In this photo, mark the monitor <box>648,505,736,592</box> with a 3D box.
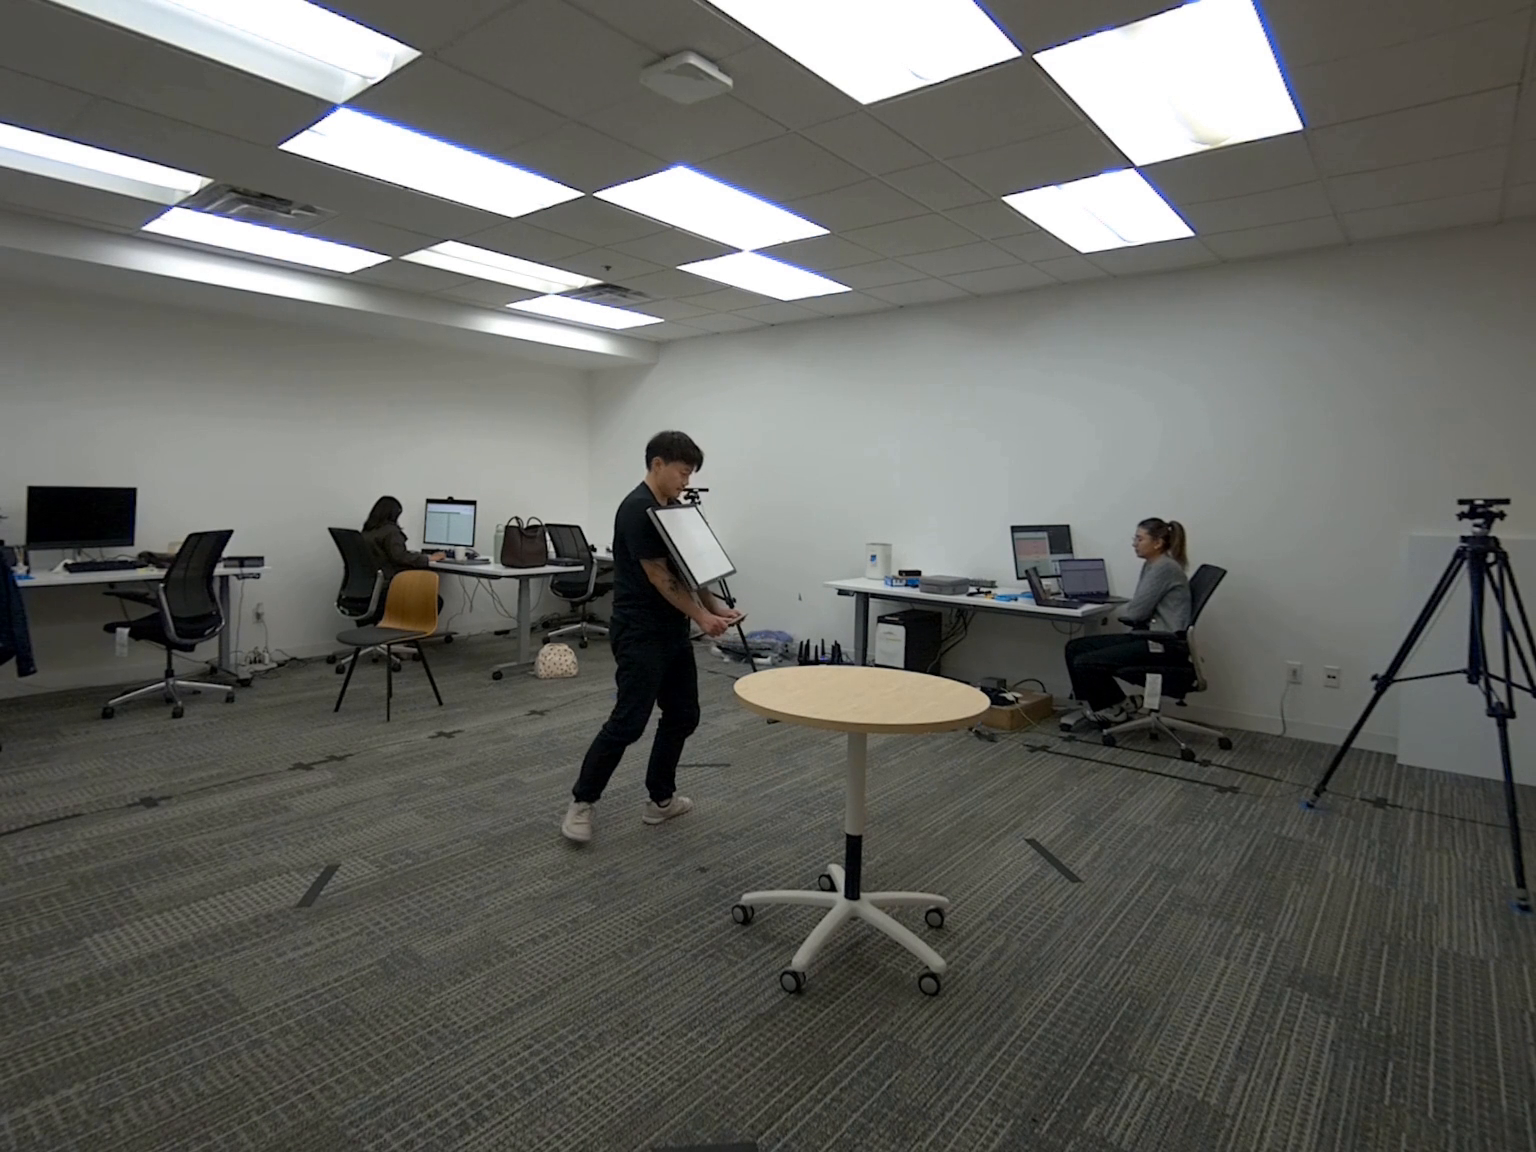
[{"bbox_3d":[-0.303,-0.032,3.496,0.188,0.522,0.536,-20,2,11],"label":"monitor"}]
